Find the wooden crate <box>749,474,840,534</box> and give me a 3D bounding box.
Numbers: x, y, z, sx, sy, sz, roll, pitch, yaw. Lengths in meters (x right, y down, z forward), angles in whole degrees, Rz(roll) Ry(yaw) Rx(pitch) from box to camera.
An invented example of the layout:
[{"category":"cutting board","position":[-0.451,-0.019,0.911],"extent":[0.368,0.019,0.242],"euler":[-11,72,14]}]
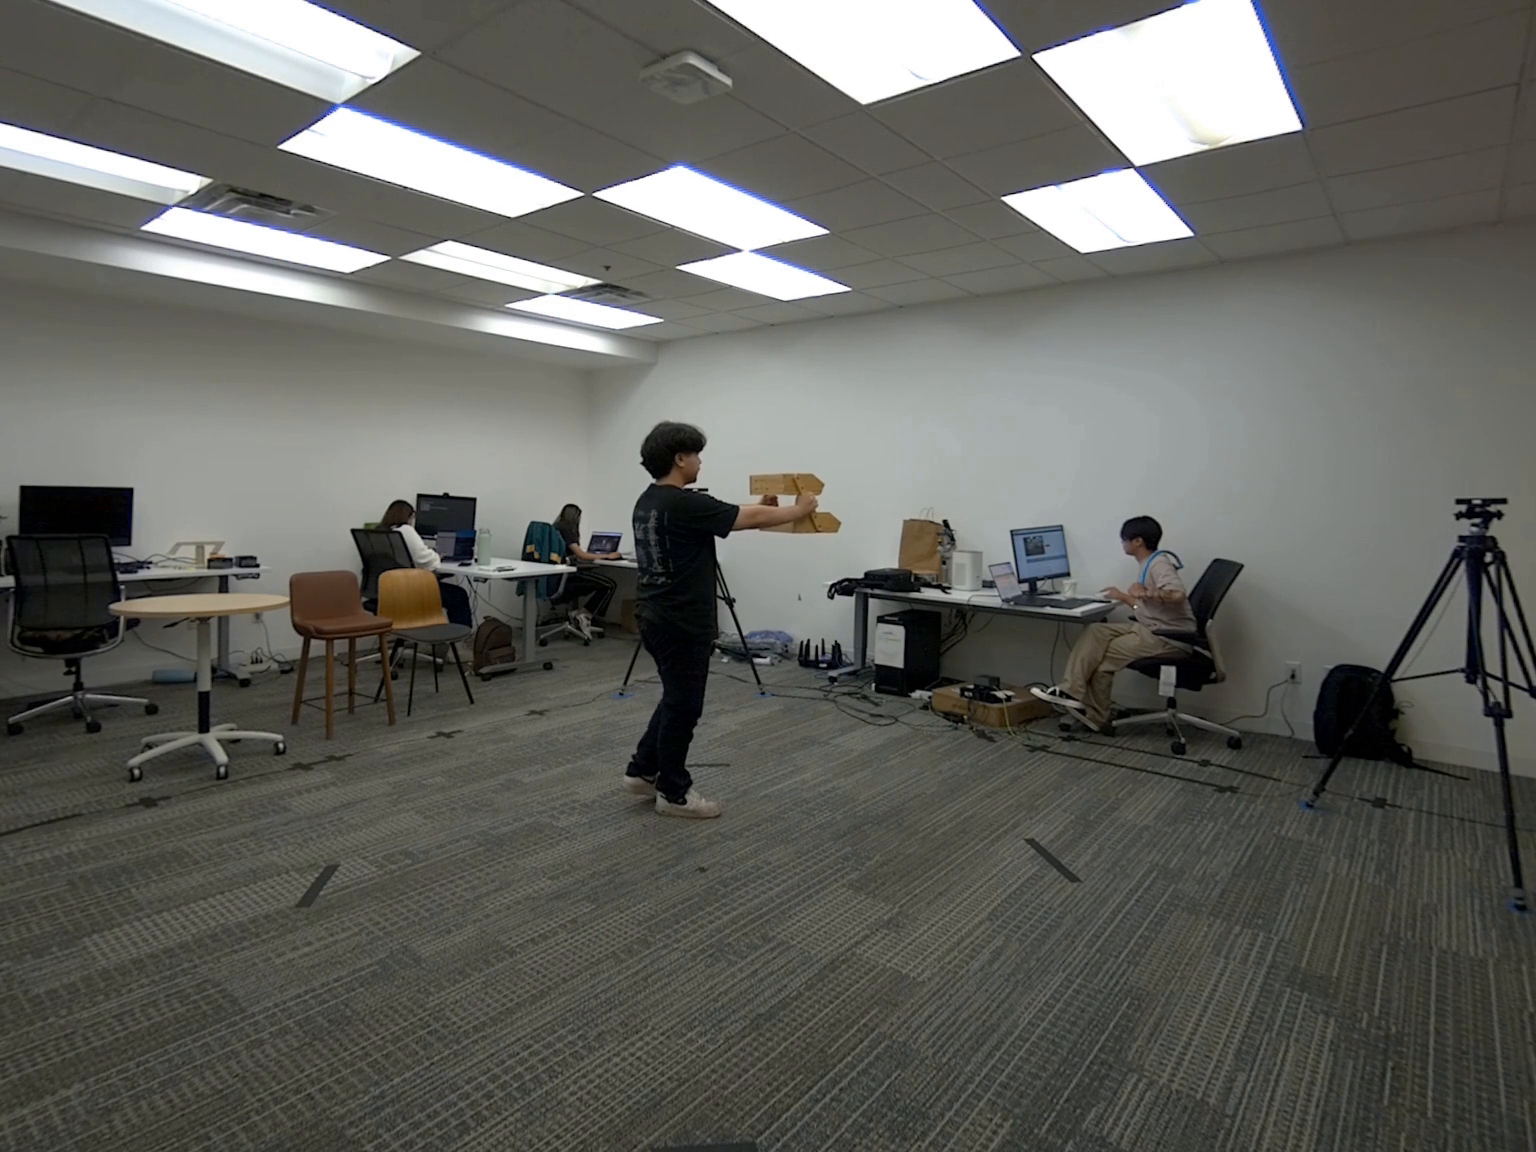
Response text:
[{"category":"wooden crate","position":[0.113,-0.339,3.861],"extent":[0.294,0.272,0.334],"euler":[-3,5,-30]}]
